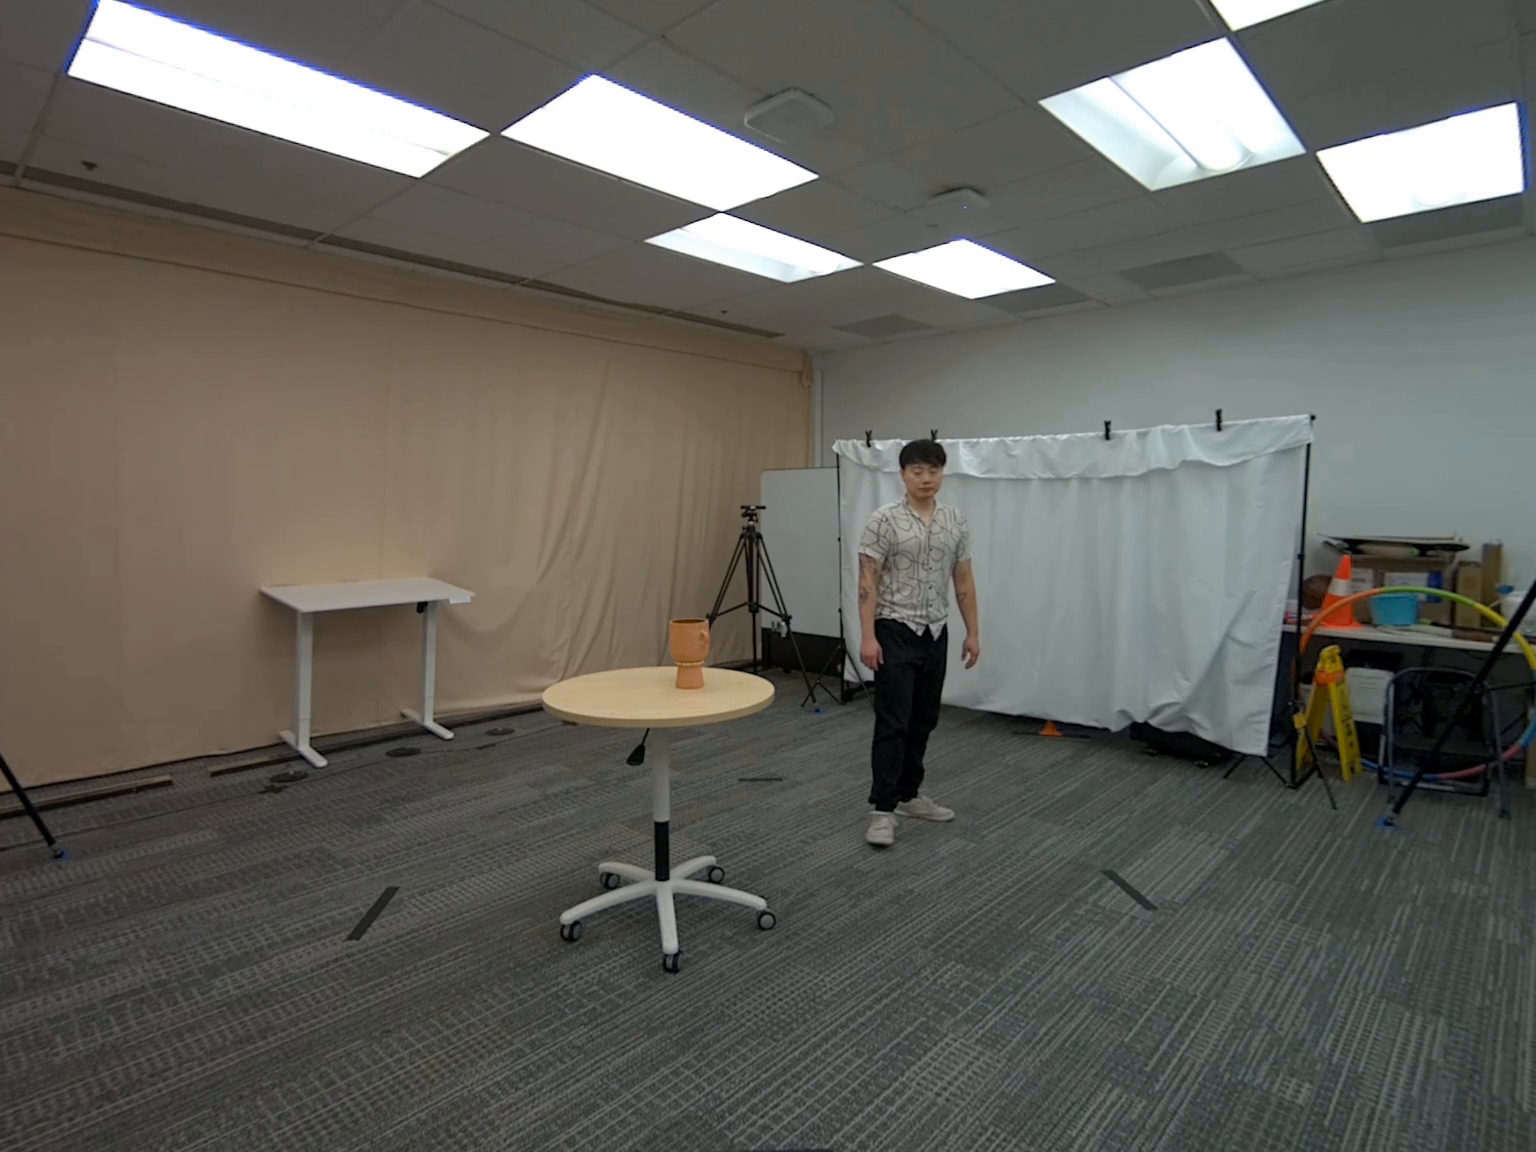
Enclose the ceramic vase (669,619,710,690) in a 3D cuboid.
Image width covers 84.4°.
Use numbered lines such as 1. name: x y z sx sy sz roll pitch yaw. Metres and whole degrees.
1. ceramic vase: -0.261 0.263 2.834 0.134 0.219 0.160 1 4 -4
